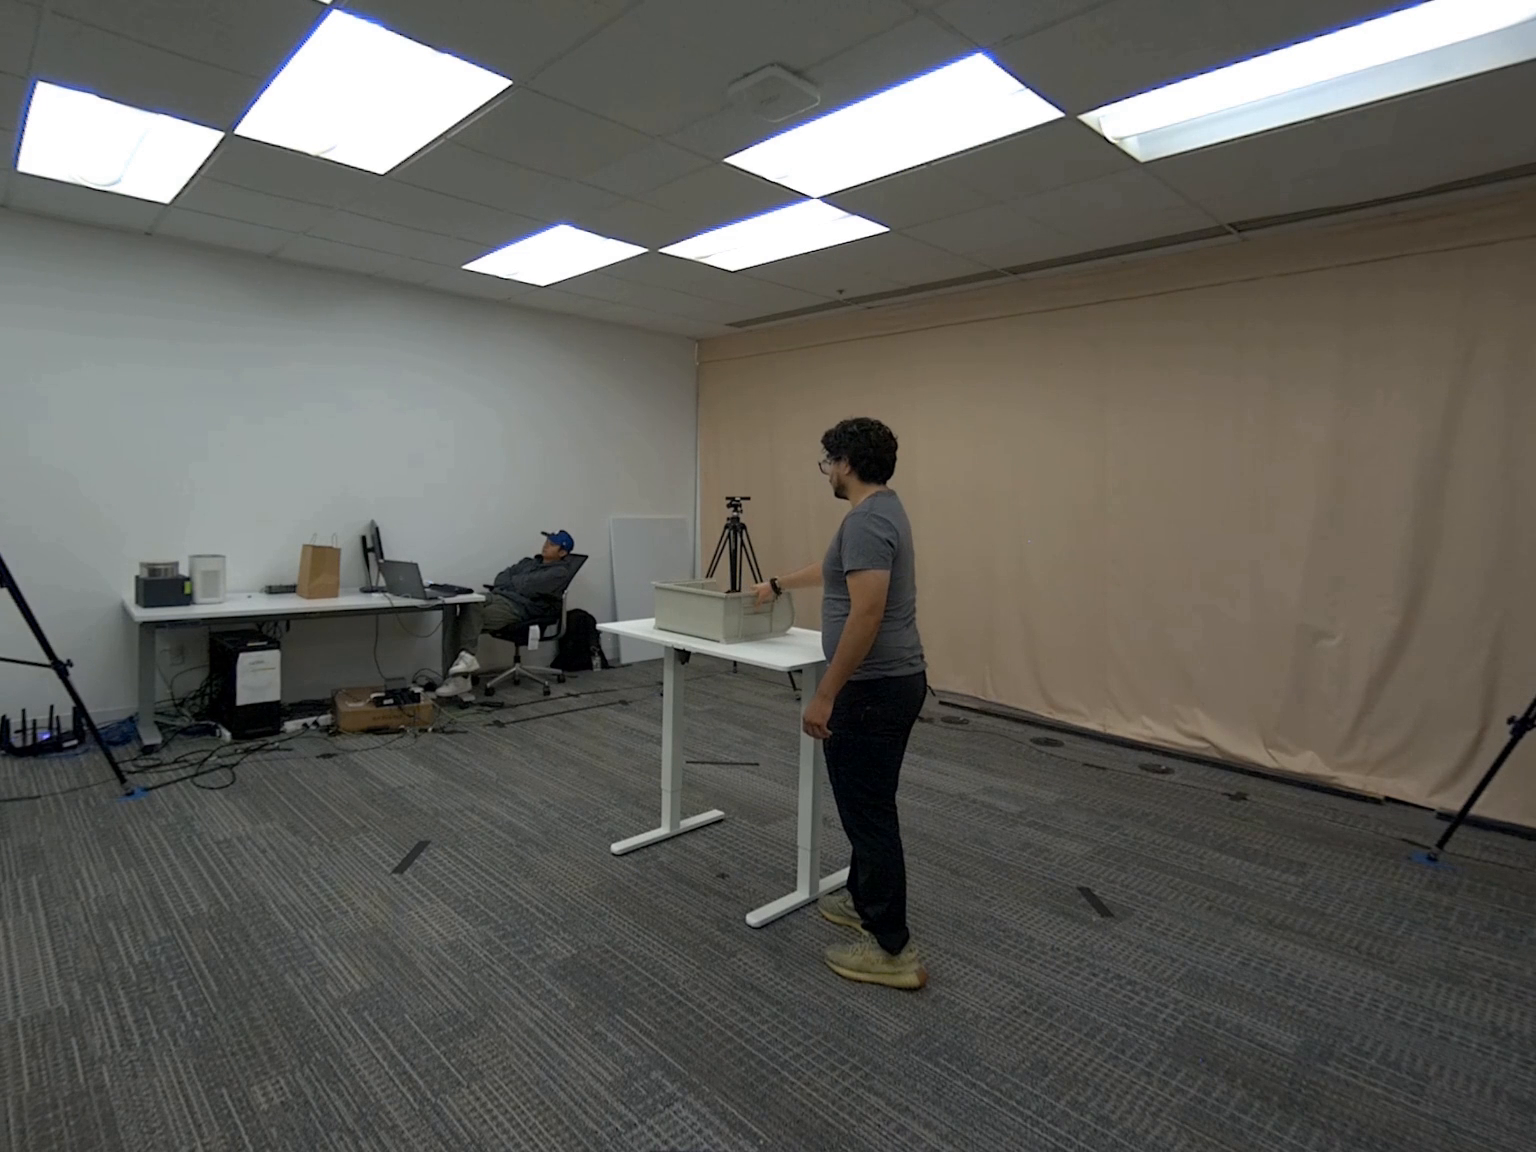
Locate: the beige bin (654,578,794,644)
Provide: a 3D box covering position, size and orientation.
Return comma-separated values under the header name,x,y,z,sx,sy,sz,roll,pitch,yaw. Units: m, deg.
name,x,y,z,sx,sy,sz,roll,pitch,yaw
beige bin,-0.175,0.124,3.199,0.369,0.188,0.433,-6,9,-44
